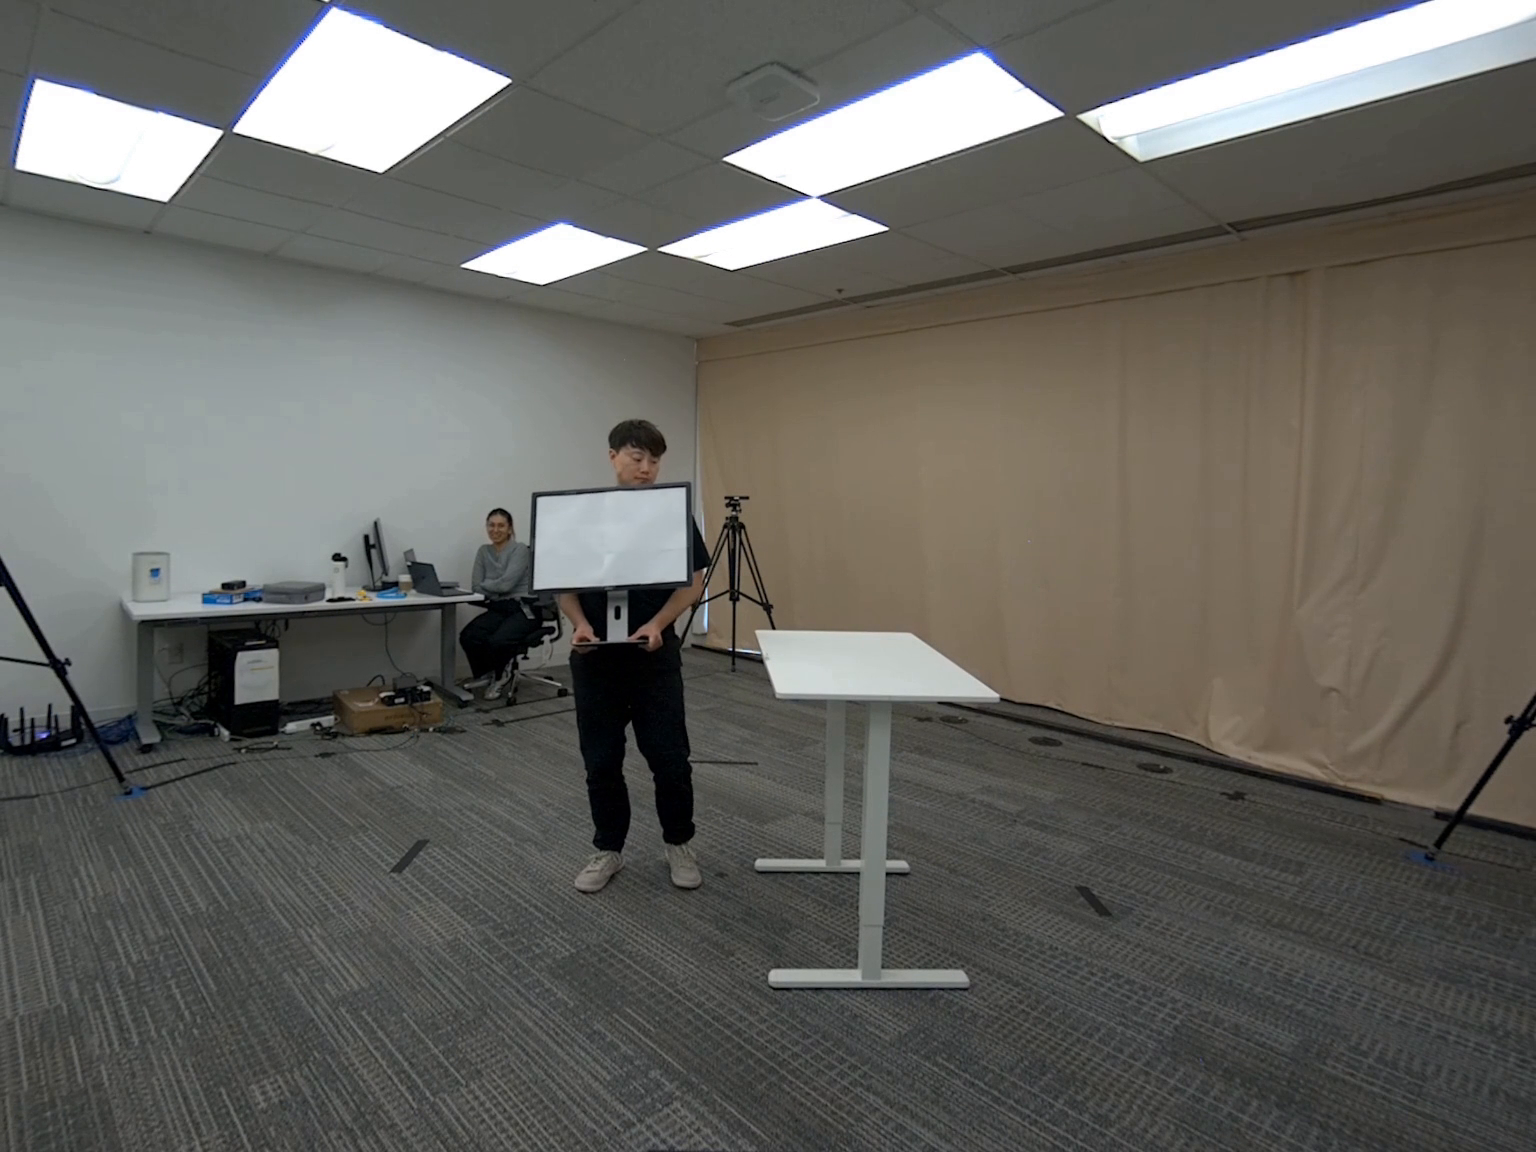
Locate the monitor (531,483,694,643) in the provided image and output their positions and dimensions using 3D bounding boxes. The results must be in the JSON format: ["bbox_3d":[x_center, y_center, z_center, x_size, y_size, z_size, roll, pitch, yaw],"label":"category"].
[{"bbox_3d":[-0.526,-0.028,2.858,0.541,0.525,0.185,-4,-6,5],"label":"monitor"}]
